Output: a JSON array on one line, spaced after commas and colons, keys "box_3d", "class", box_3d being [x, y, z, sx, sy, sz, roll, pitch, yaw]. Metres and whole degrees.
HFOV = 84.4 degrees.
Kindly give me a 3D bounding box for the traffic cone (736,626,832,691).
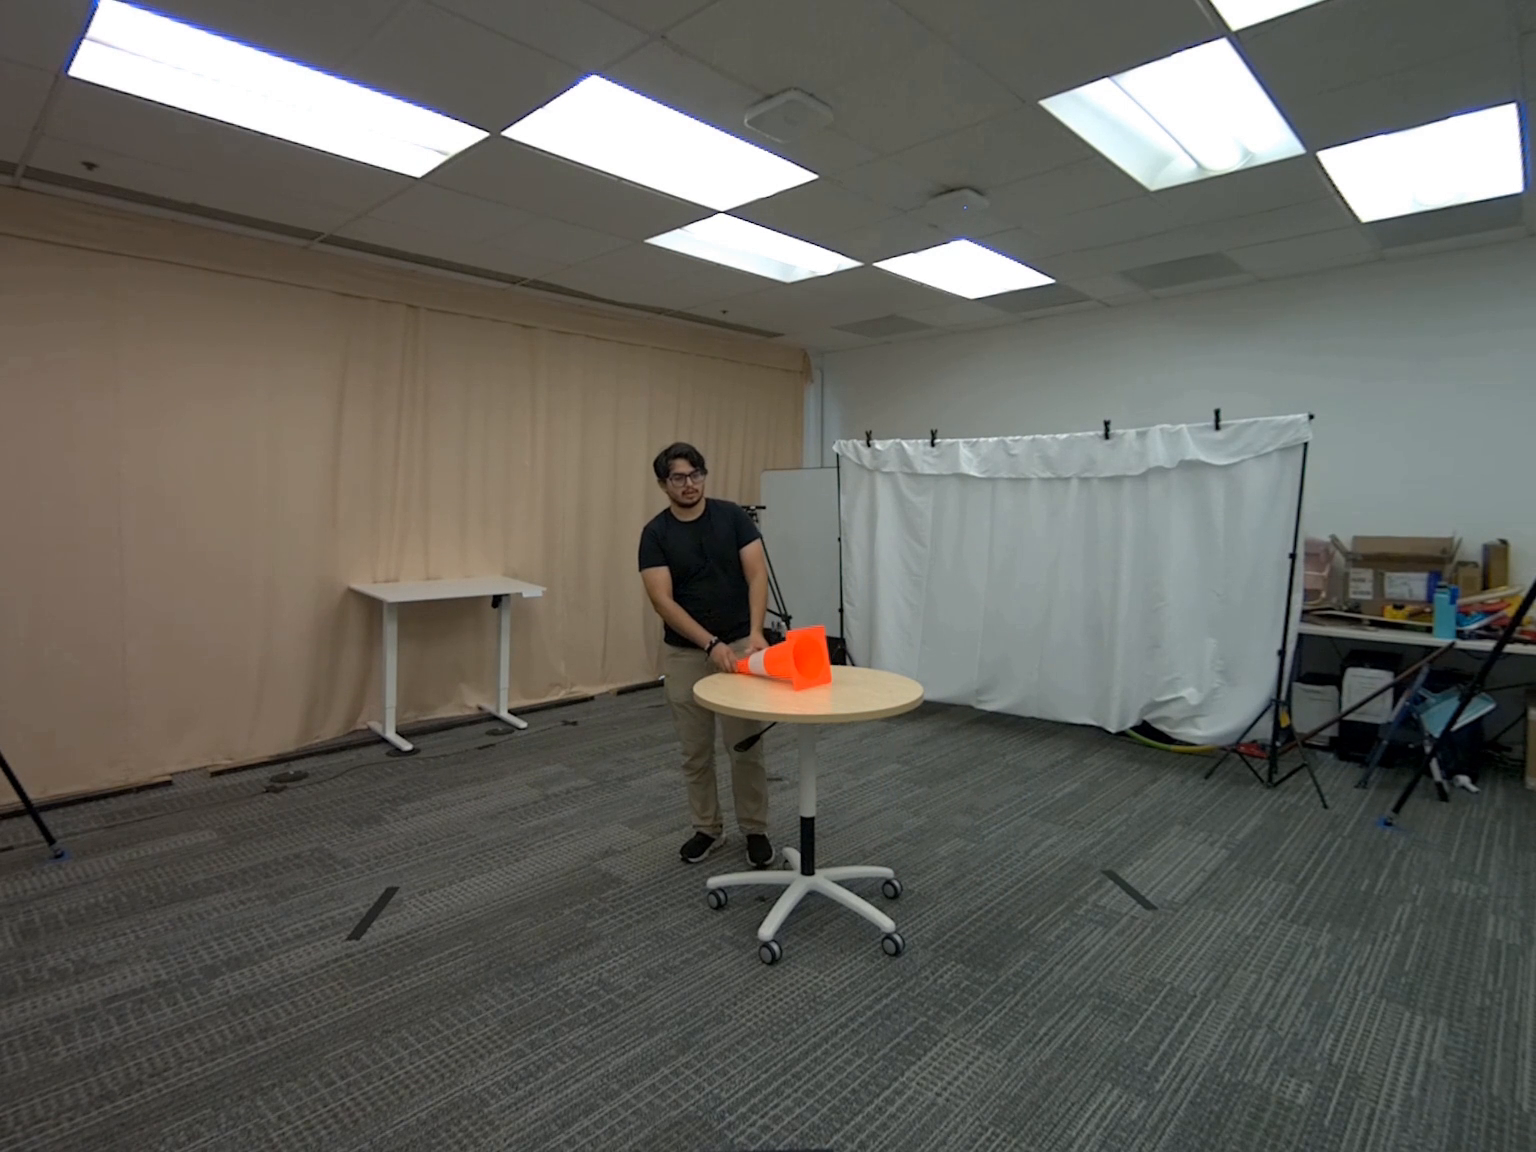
[{"box_3d": [0.010, 0.308, 2.965, 0.198, 0.204, 0.394, -3, -7, -45], "class": "traffic cone"}]
